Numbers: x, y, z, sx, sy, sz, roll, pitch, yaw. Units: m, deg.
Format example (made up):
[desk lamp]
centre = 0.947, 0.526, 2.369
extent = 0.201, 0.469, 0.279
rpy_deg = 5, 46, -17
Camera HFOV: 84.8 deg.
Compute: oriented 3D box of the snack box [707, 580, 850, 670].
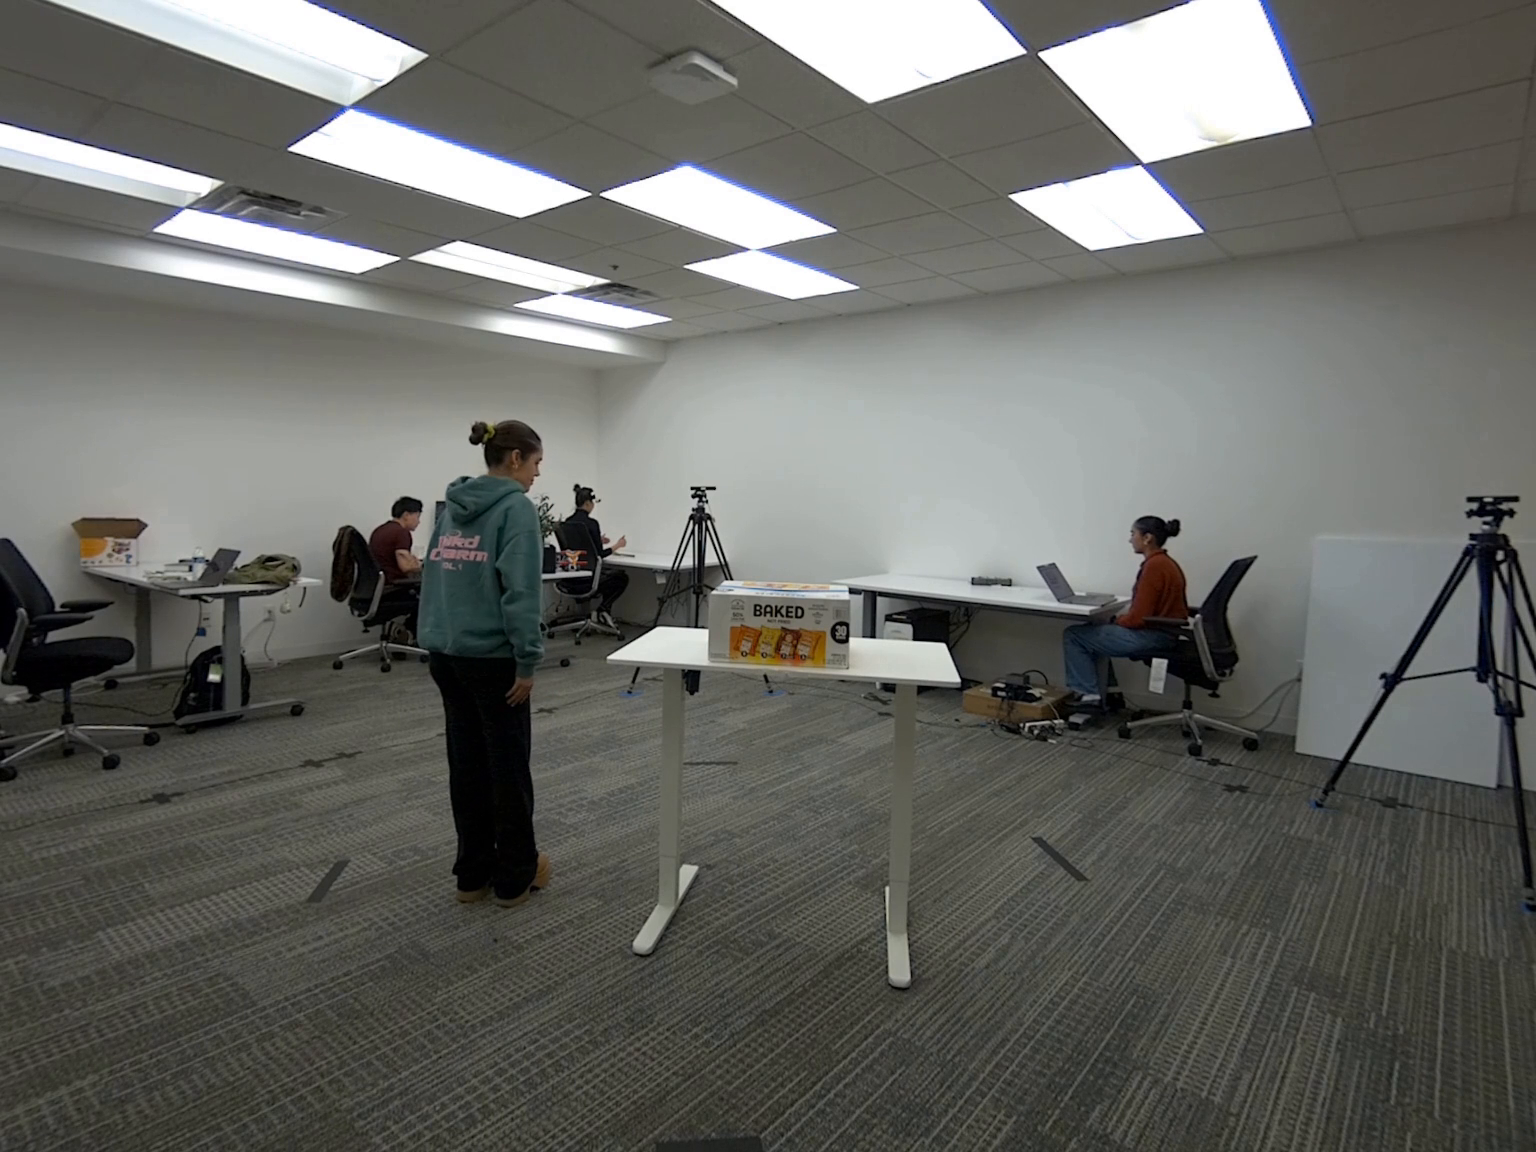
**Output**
[snack box]
centre = 0.035, 0.138, 2.601
extent = 0.408, 0.205, 0.339
rpy_deg = 2, 5, 6
